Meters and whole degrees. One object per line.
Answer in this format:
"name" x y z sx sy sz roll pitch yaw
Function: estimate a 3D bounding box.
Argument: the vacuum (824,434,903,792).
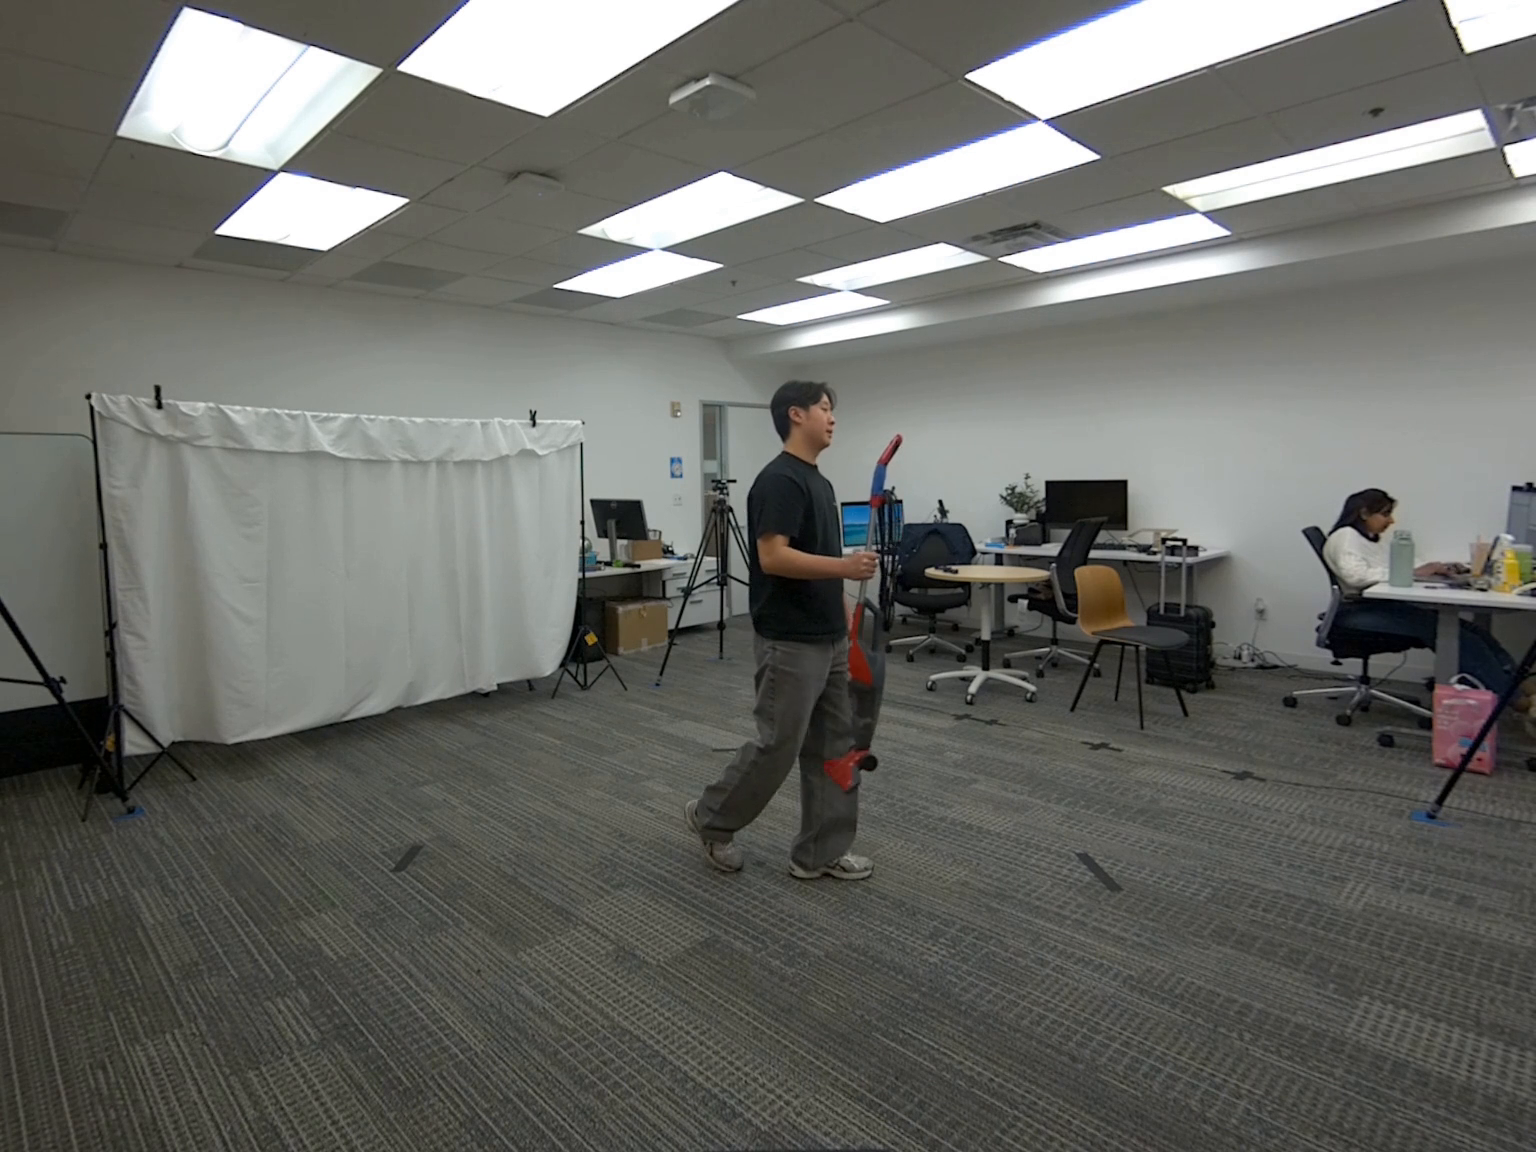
"vacuum" 0.344 0.086 2.689 0.142 1.050 0.255 8 -1 -10
